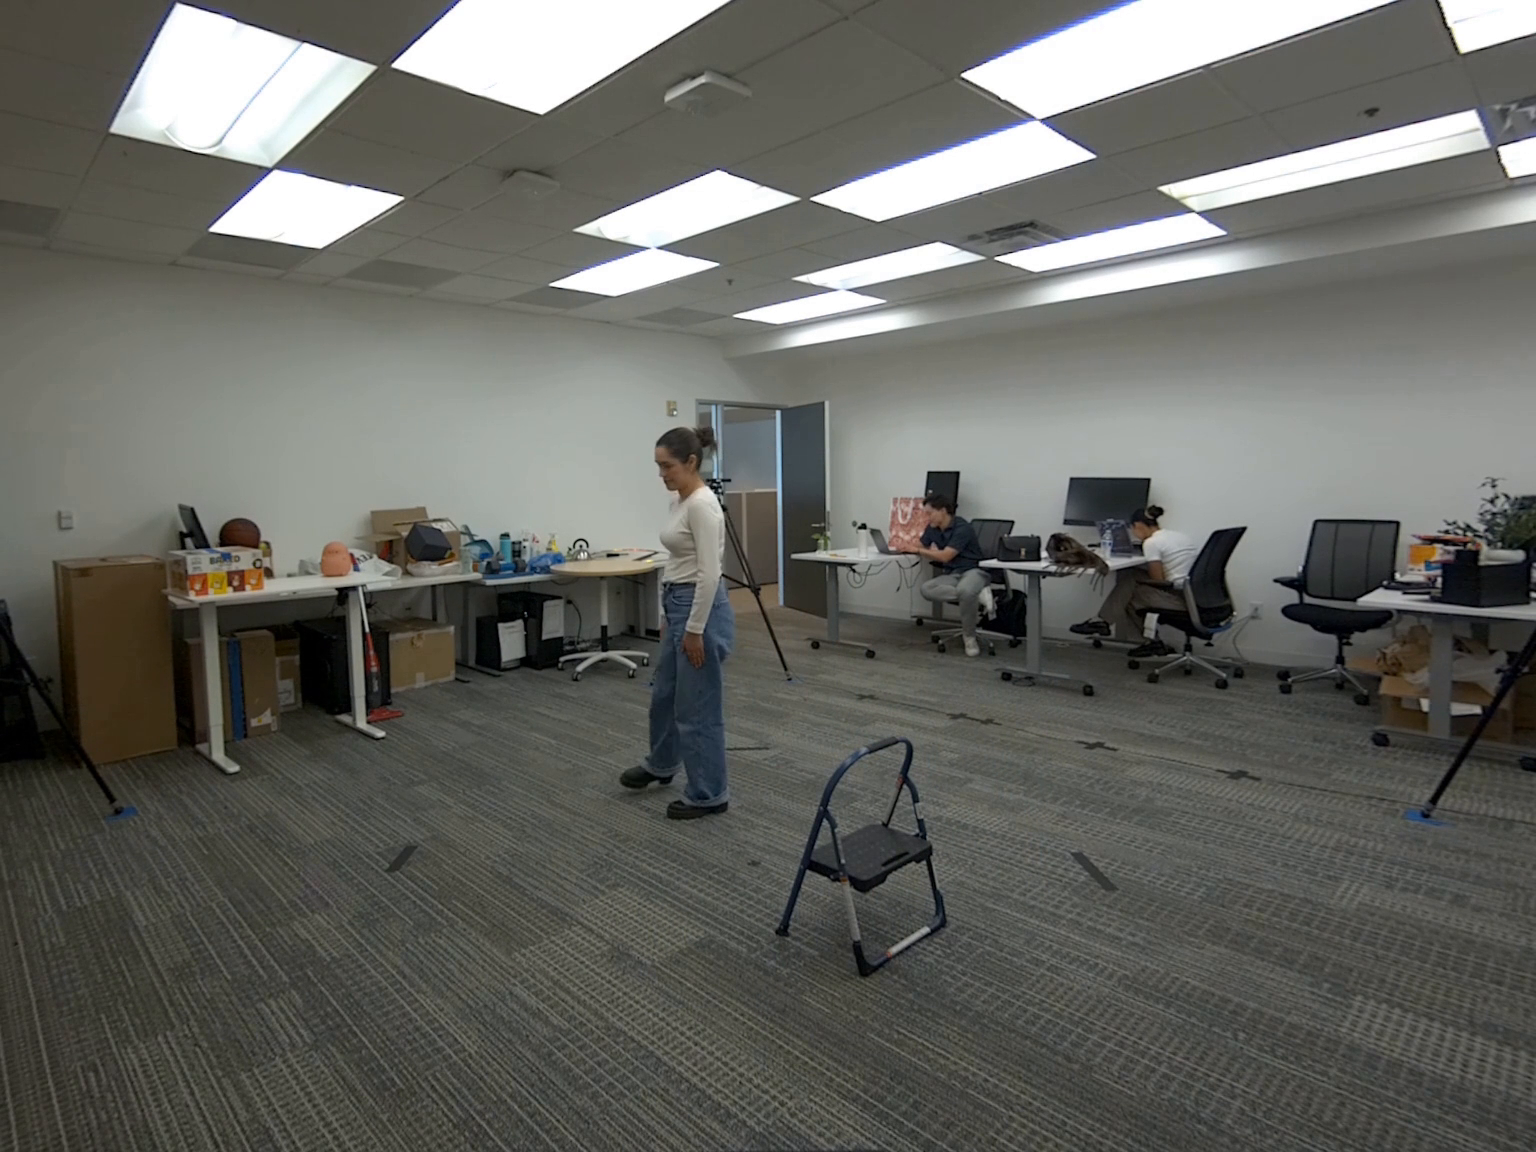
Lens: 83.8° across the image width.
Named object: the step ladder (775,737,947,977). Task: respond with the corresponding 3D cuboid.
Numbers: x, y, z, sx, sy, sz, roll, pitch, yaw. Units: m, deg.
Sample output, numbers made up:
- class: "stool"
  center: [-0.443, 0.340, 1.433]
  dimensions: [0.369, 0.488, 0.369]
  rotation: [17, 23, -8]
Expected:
- class: "step ladder"
  center: [0.290, 0.791, 2.625]
  dimensions: [0.360, 0.604, 0.419]
  rotation: [3, 6, 45]
